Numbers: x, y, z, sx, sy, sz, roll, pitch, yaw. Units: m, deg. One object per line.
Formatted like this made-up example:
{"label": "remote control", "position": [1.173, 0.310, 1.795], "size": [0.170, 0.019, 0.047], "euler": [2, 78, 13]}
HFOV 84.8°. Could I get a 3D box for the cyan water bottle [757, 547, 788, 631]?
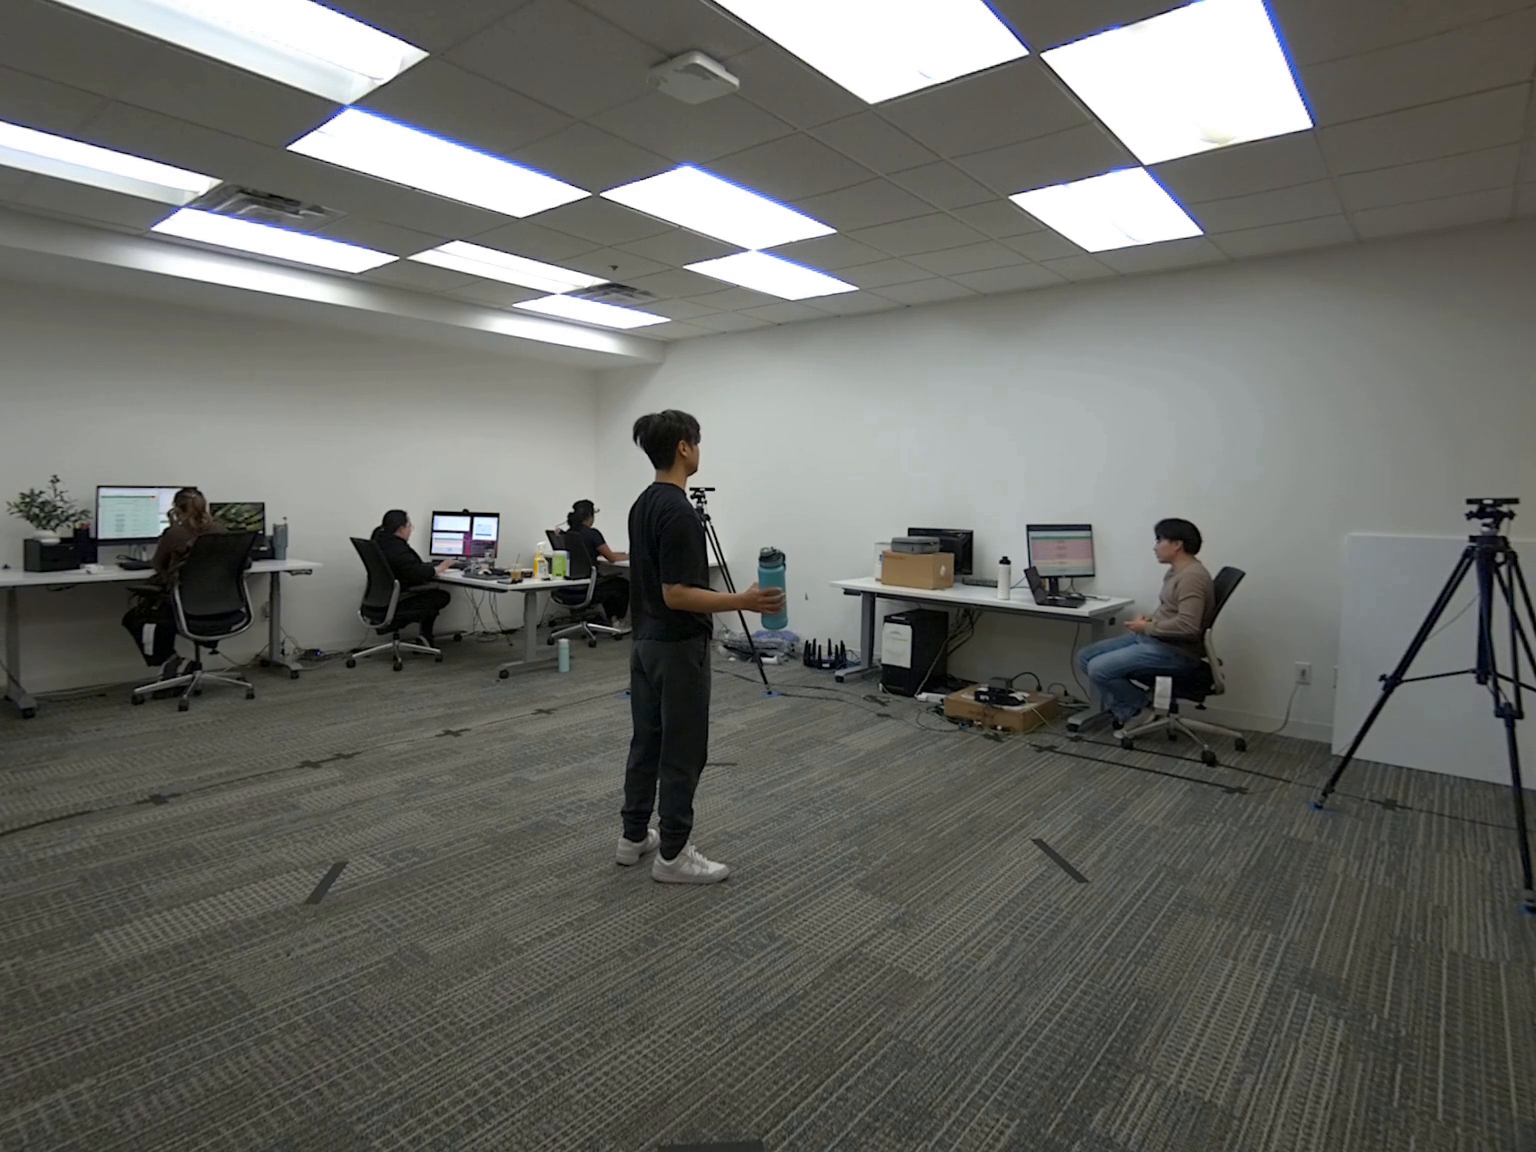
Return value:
{"label": "cyan water bottle", "position": [0.011, 0.032, 2.832], "size": [0.092, 0.277, 0.094], "euler": [-2, 22, -1]}
